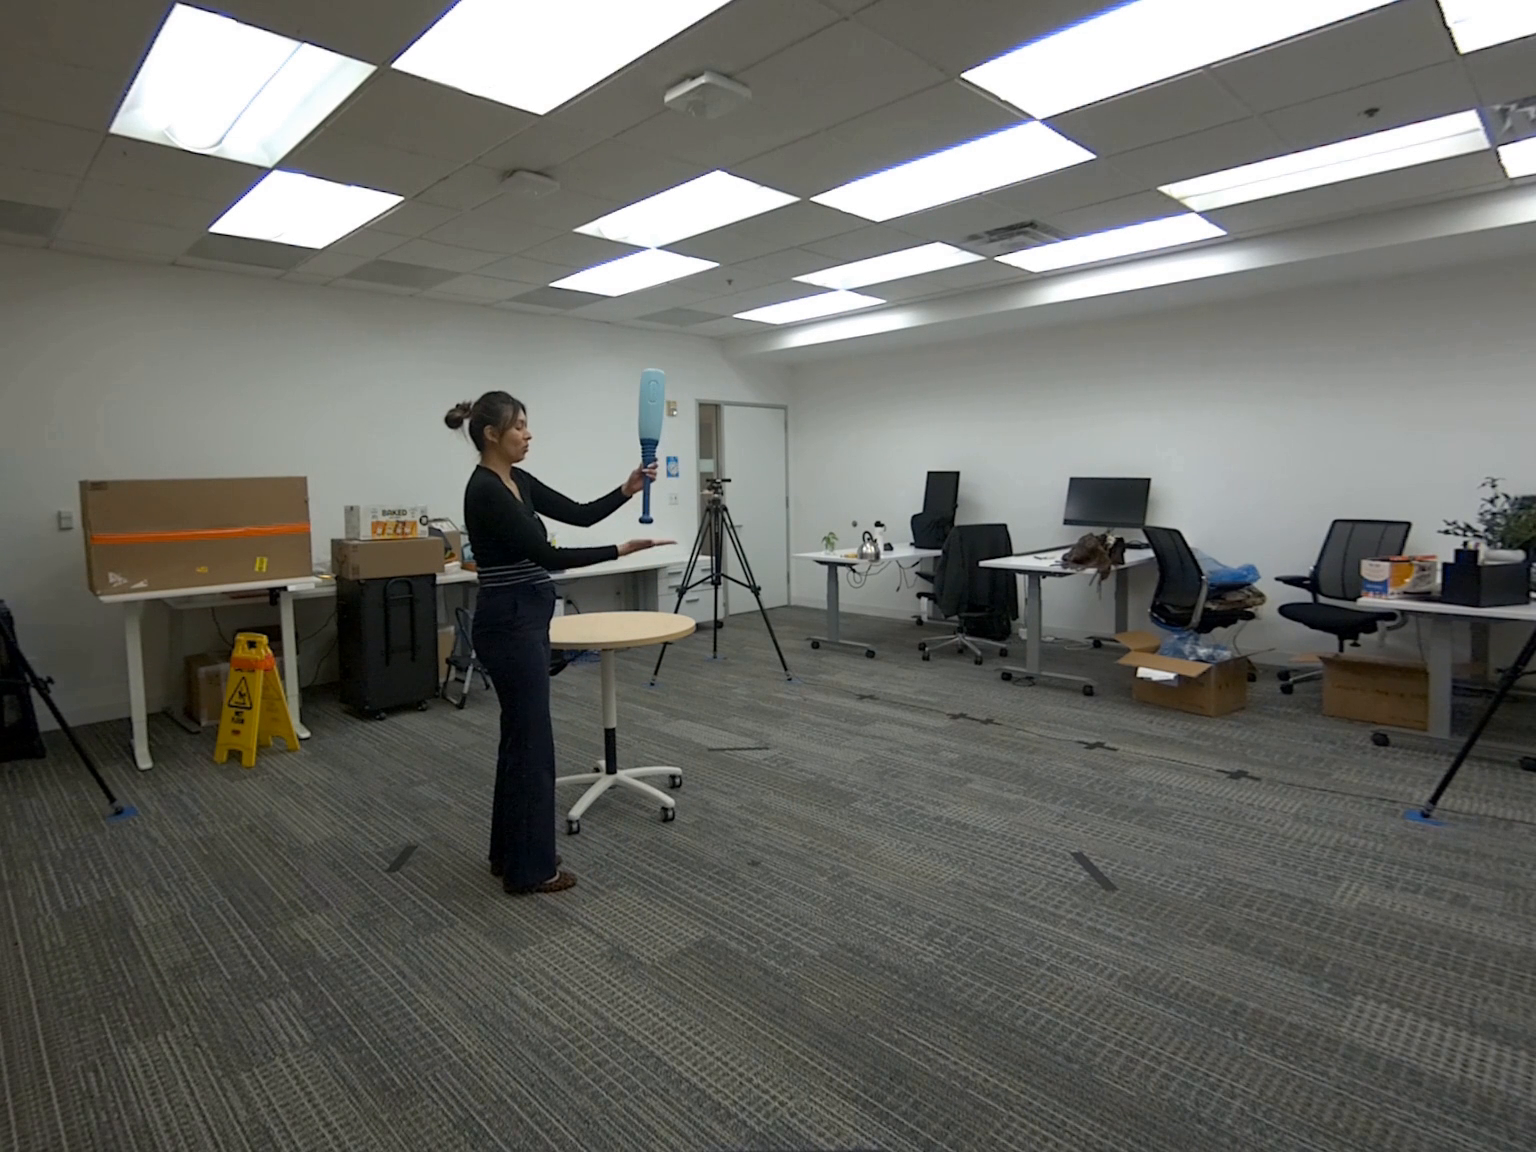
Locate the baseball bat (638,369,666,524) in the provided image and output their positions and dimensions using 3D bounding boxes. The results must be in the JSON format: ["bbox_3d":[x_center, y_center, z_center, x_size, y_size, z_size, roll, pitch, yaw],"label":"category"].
[{"bbox_3d":[-0.415,-0.448,2.984,0.089,0.546,0.088,2,-6,-2],"label":"baseball bat"}]
